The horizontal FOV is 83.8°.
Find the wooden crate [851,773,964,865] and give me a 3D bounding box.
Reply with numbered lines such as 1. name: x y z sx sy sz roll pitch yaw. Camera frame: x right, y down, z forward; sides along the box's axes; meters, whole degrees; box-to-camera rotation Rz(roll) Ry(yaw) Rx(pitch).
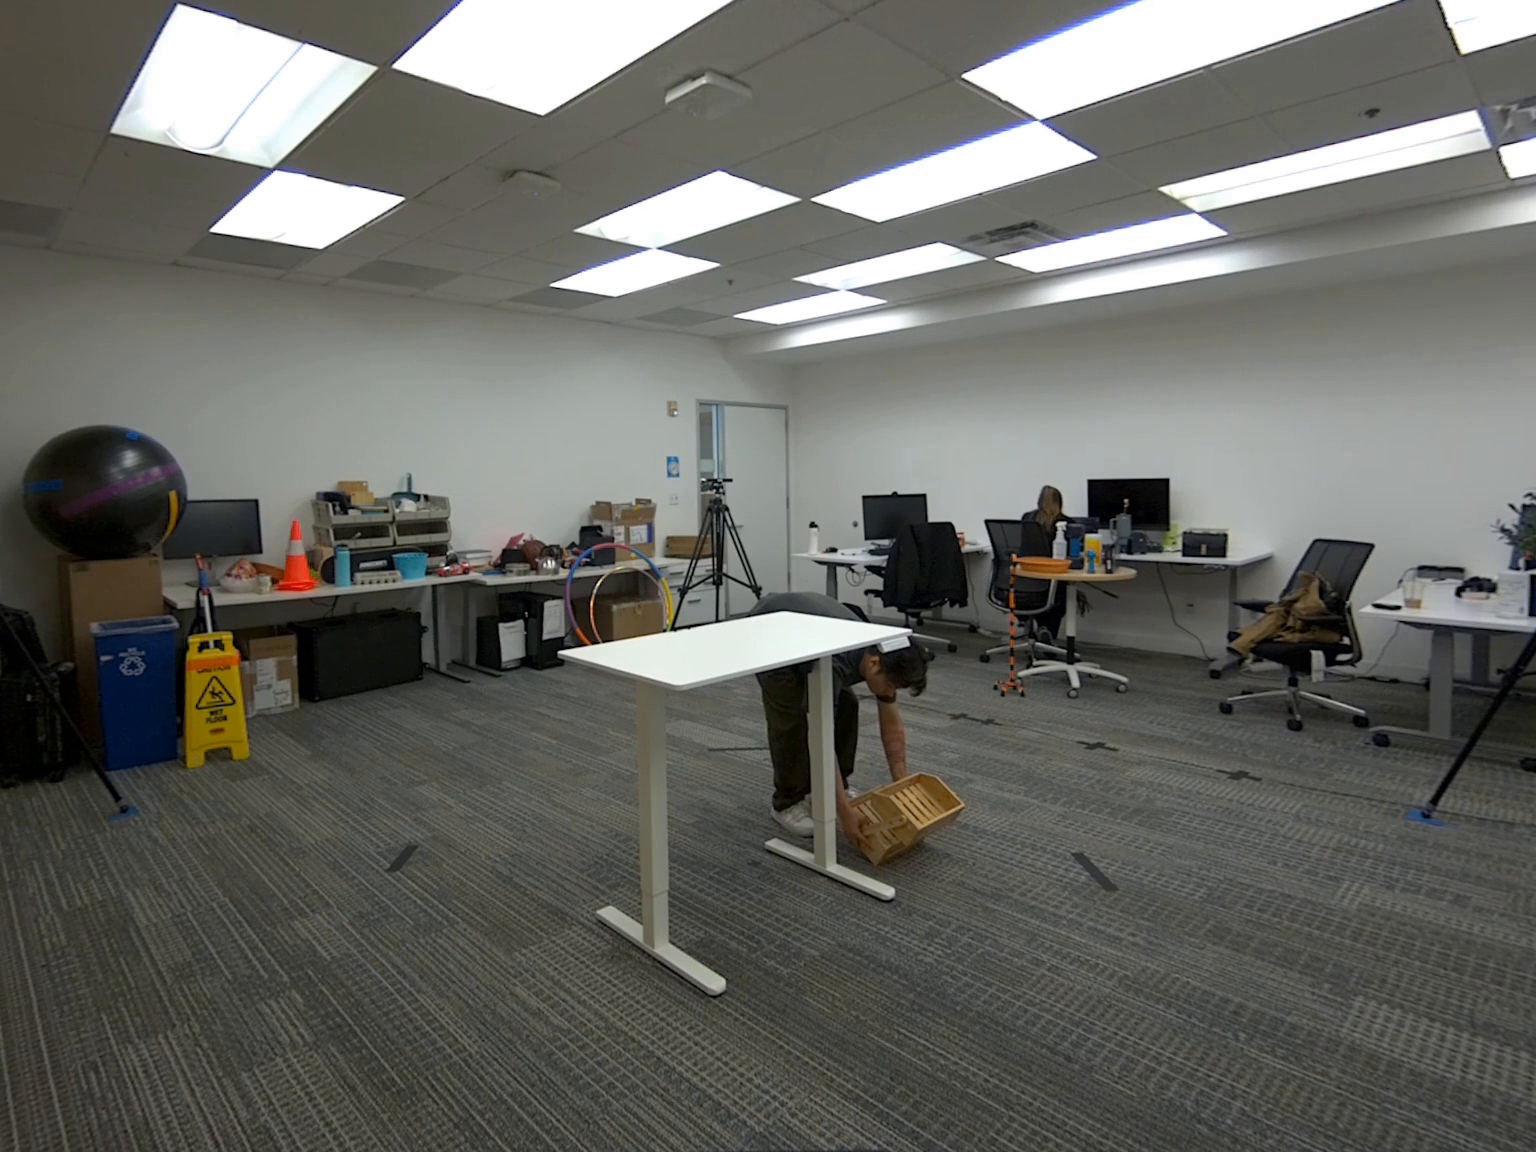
1. wooden crate: 0.490 0.868 3.172 0.316 0.270 0.313 -7 41 -45
